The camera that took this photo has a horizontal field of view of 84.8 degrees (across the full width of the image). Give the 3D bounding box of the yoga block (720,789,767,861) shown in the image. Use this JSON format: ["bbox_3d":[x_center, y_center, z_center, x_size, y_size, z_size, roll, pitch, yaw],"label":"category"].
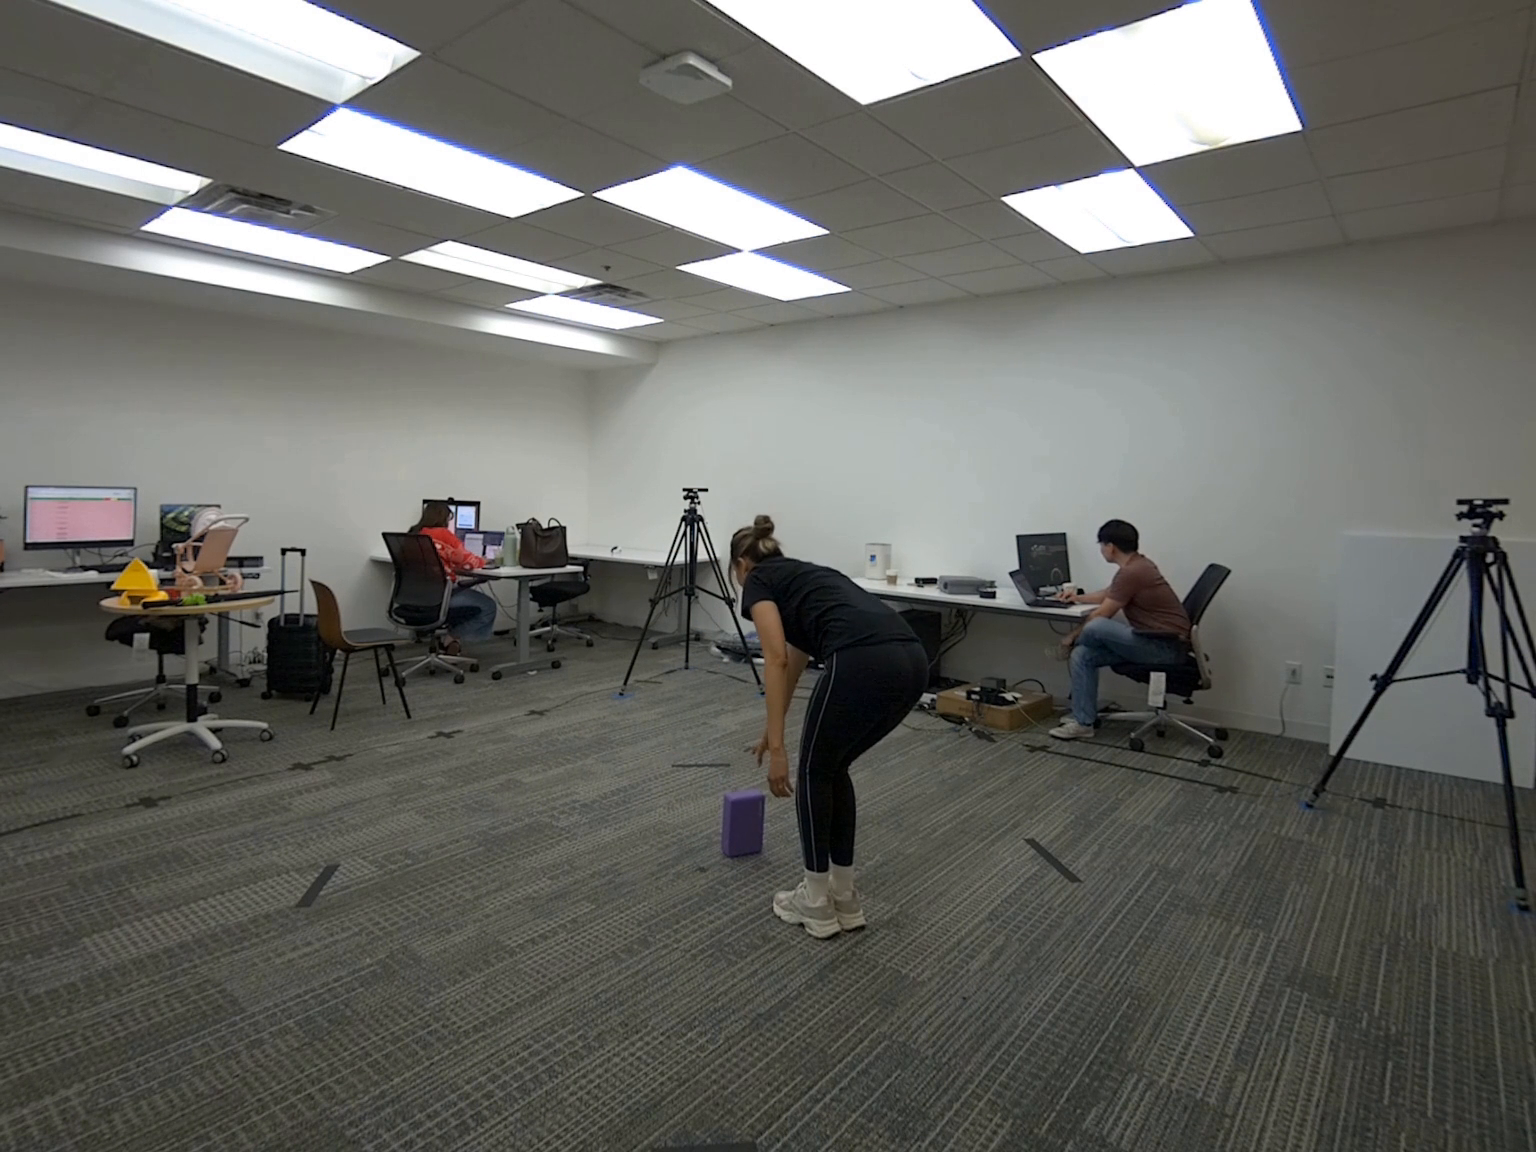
[{"bbox_3d":[-0.104,0.938,3.256,0.145,0.228,0.079,-1,5,-28],"label":"yoga block"}]
